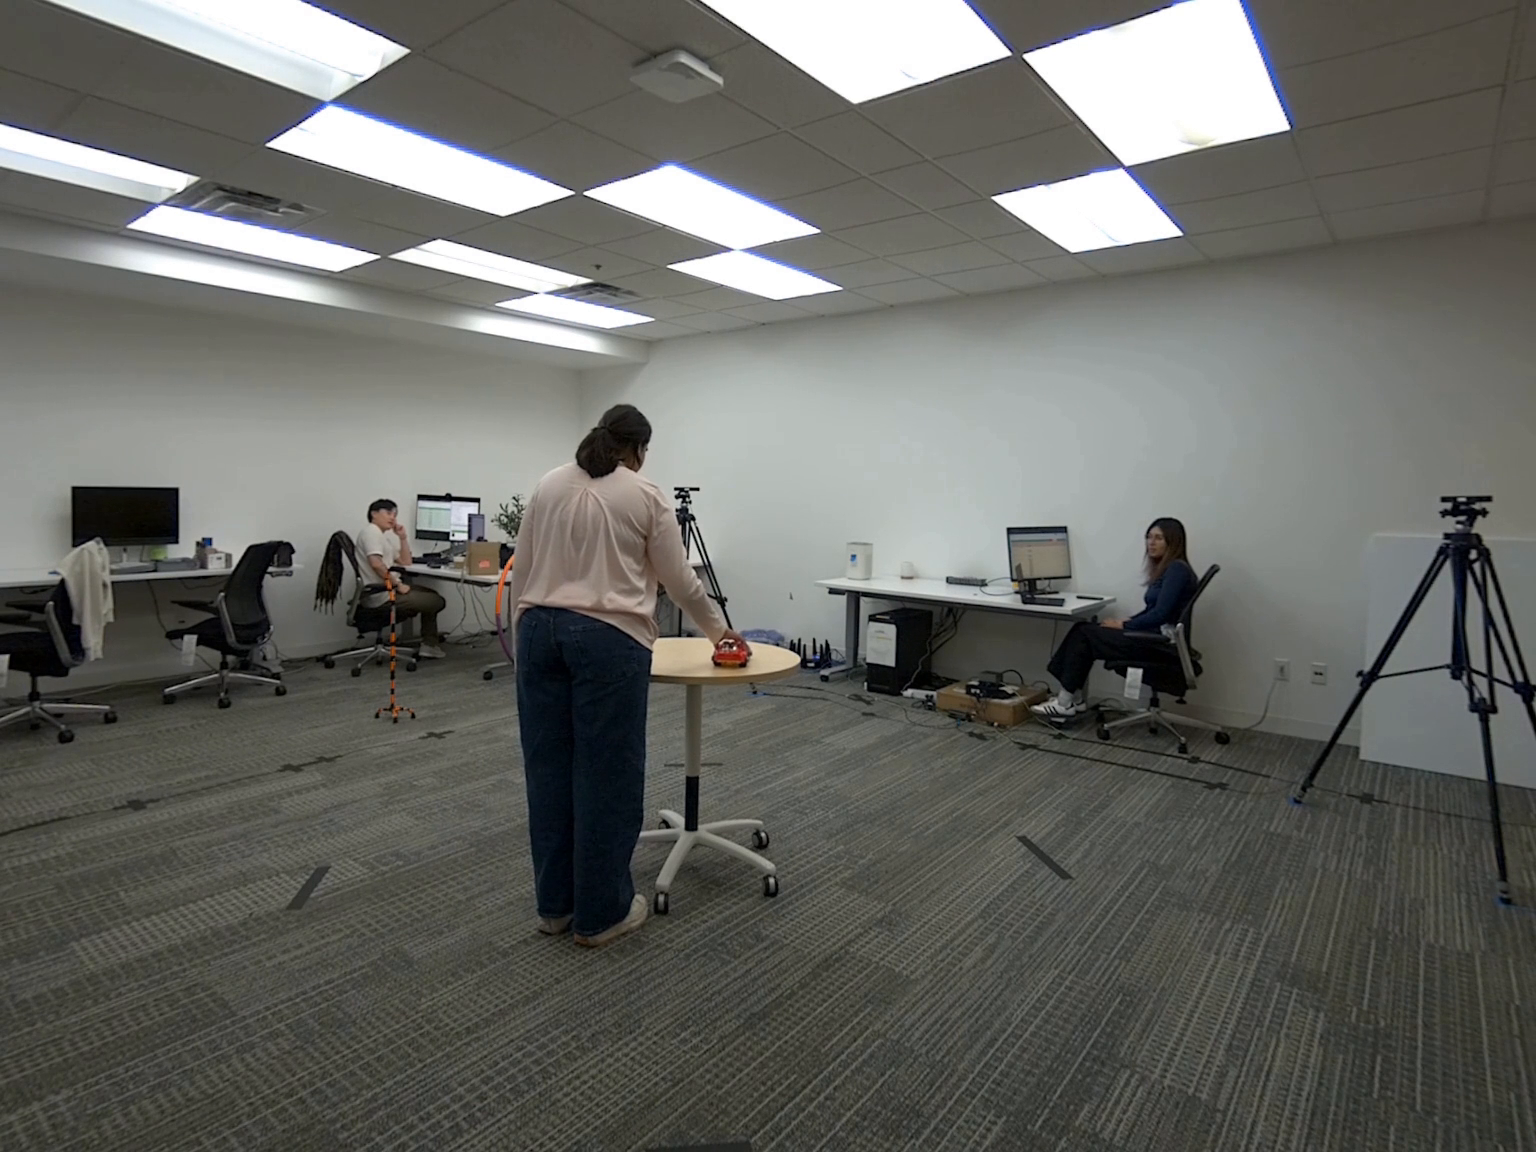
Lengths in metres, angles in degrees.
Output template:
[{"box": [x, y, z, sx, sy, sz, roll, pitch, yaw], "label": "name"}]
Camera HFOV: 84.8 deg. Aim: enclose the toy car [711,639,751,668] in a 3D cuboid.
[{"box": [-0.138, 0.270, 2.952, 0.131, 0.084, 0.252, 3, -6, 2], "label": "toy car"}]
